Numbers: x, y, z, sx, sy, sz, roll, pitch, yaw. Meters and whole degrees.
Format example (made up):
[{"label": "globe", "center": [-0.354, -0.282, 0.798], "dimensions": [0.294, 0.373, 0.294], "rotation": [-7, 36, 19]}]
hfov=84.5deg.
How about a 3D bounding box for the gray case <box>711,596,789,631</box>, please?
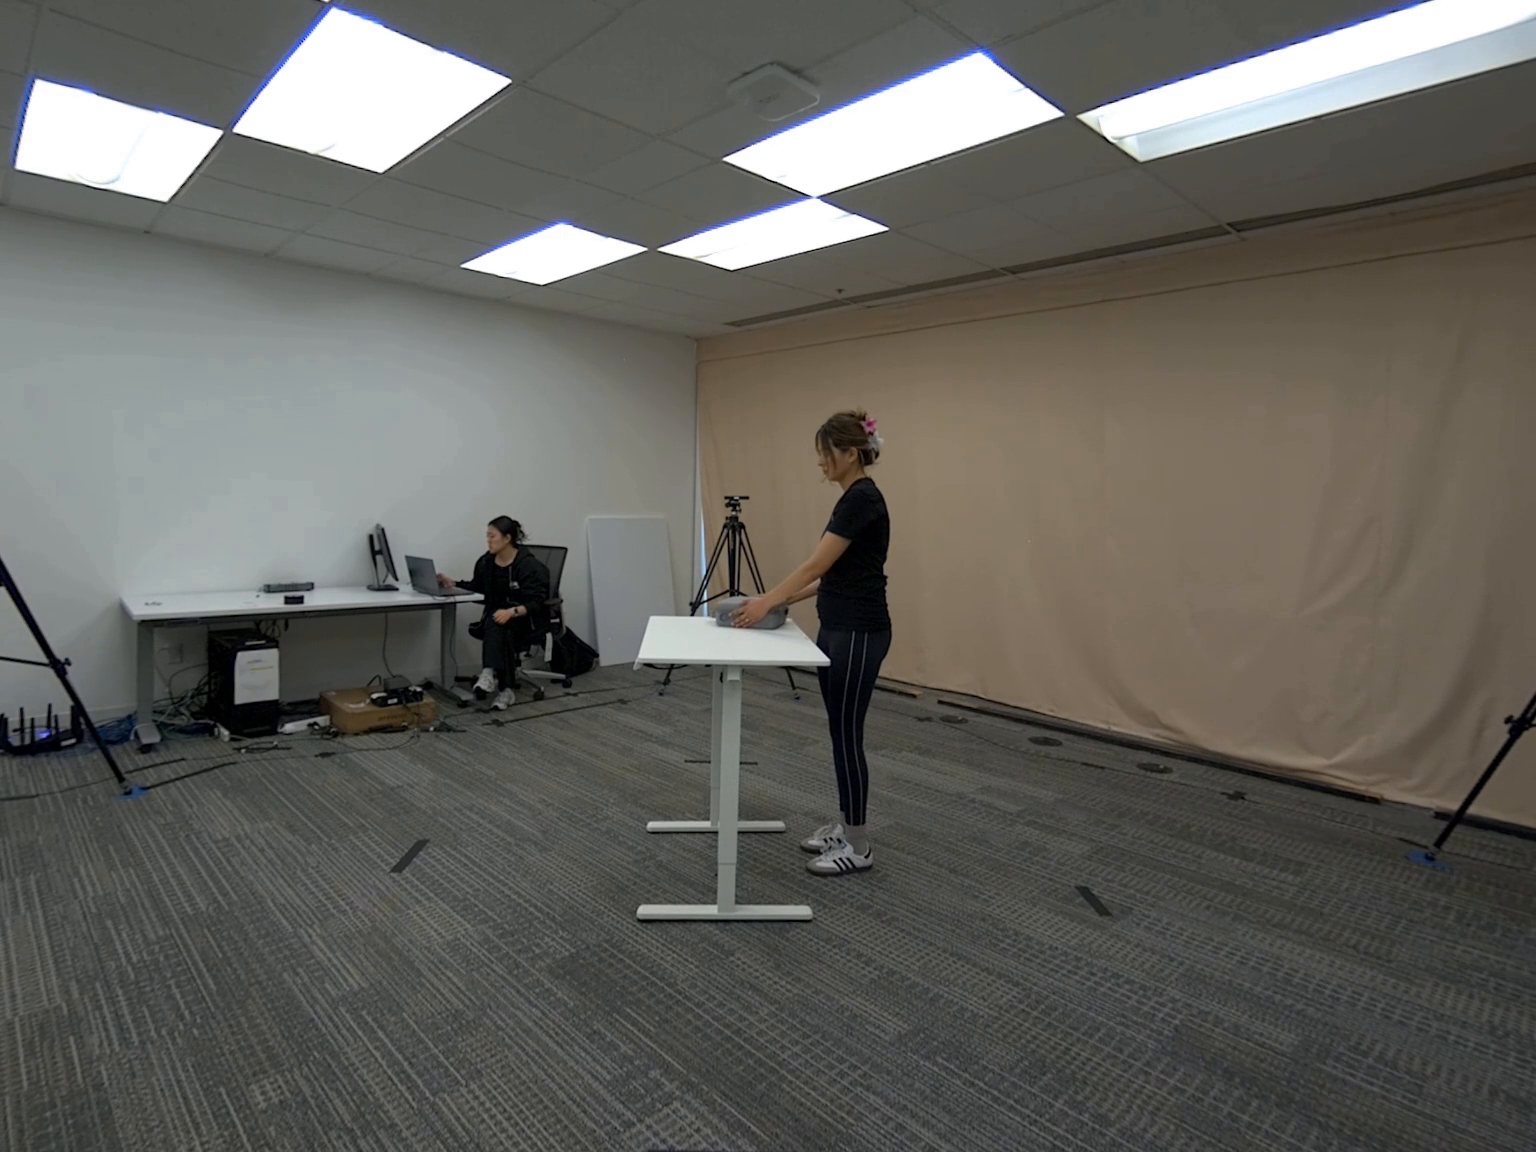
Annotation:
[{"label": "gray case", "center": [-0.074, 0.147, 3.418], "dimensions": [0.264, 0.104, 0.255], "rotation": [2, 5, 14]}]
